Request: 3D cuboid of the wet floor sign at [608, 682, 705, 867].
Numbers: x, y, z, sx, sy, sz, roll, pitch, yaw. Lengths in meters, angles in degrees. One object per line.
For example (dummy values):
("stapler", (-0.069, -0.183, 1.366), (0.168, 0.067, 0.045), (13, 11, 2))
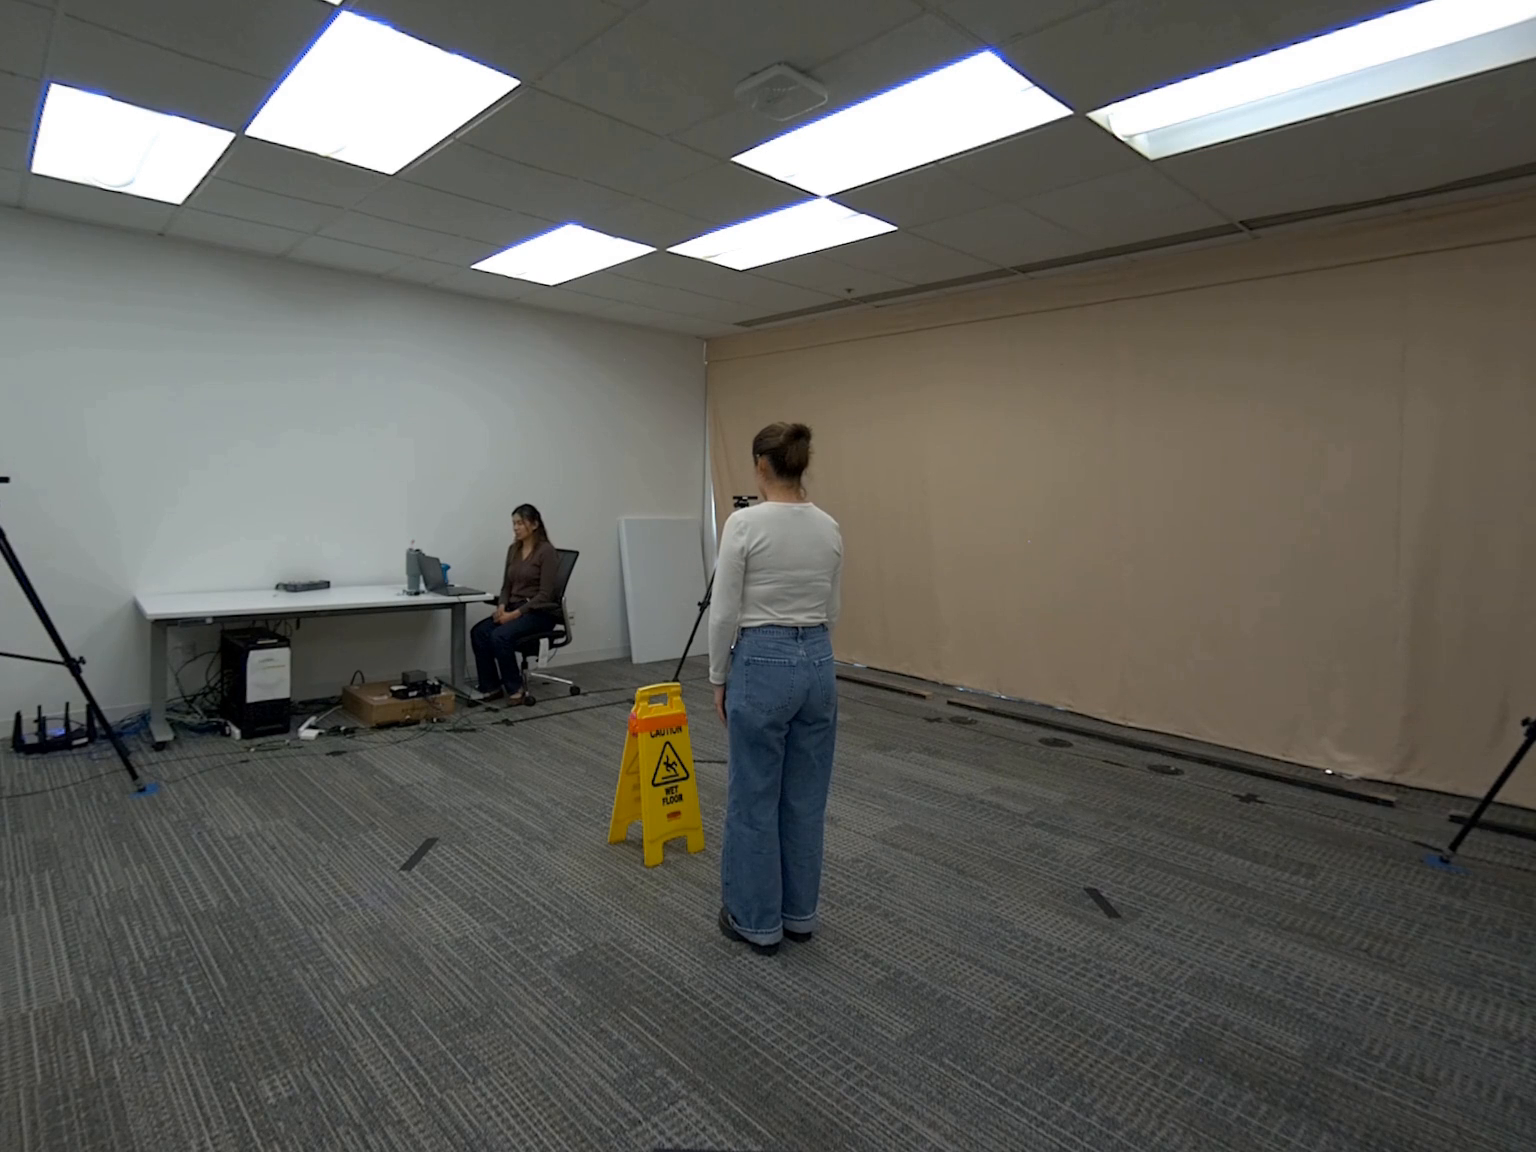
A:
("wet floor sign", (-0.440, 0.750, 3.320), (0.276, 0.644, 0.297), (-2, 5, -41))
